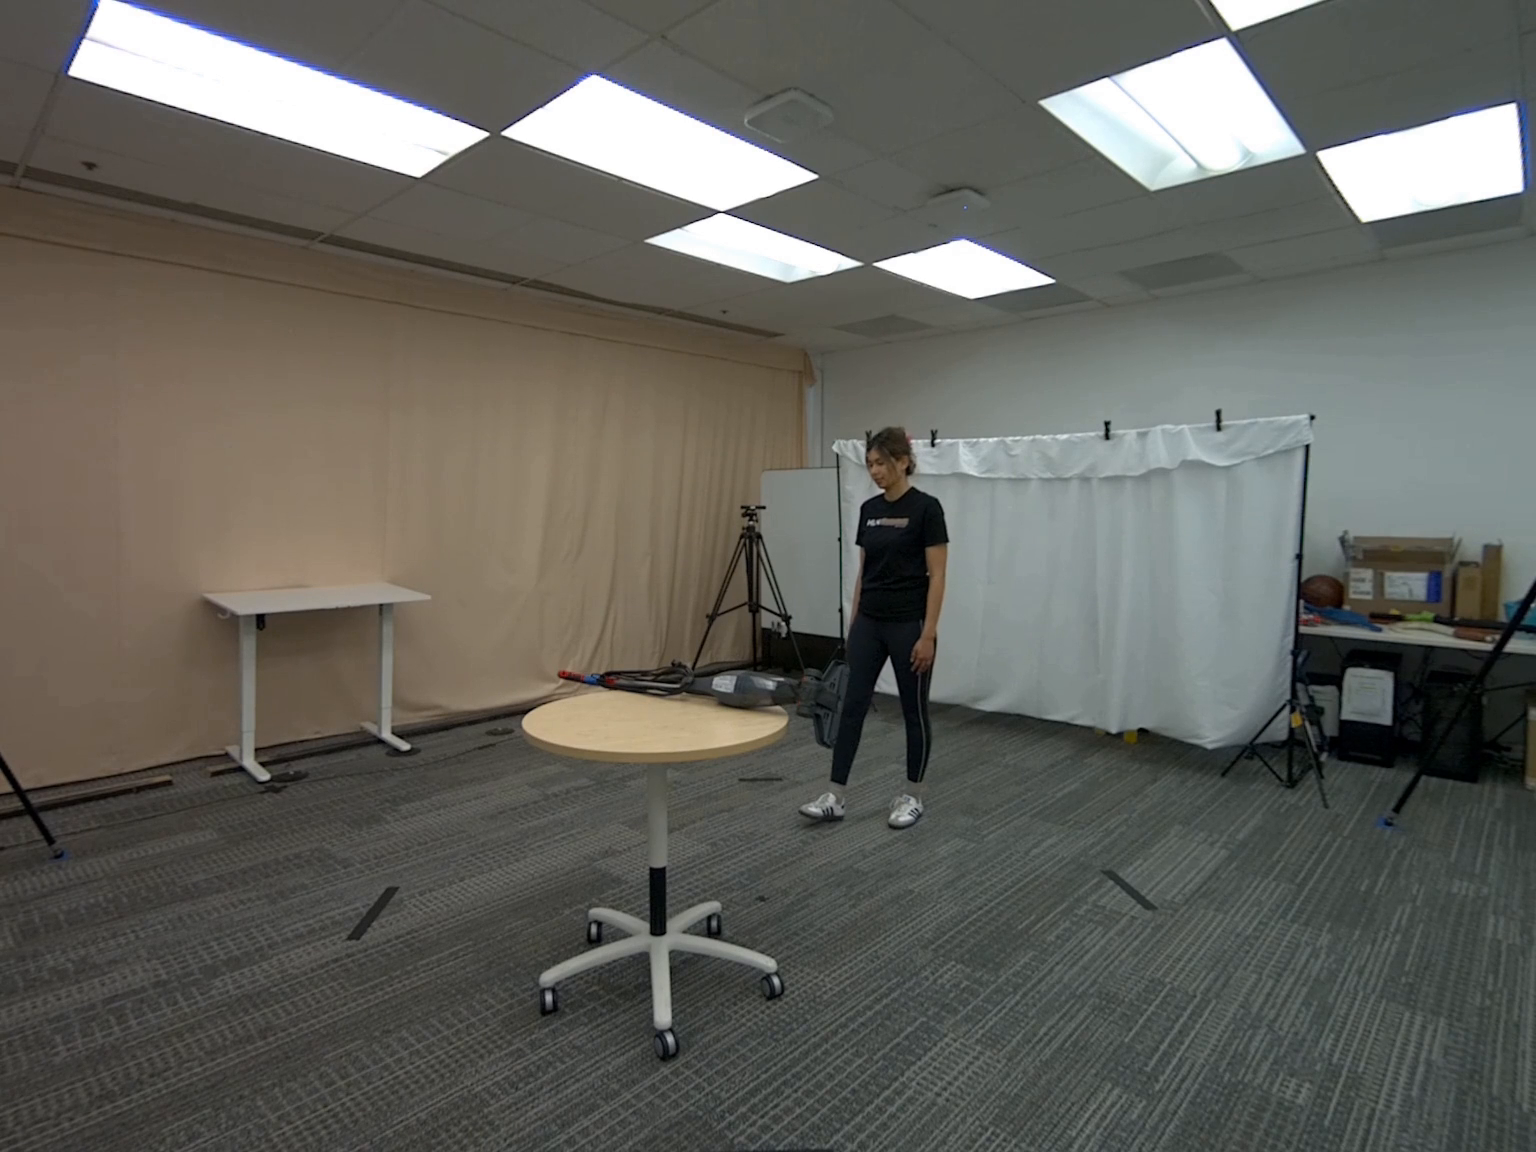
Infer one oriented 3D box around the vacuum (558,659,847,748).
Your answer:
[{"bbox_3d":[-0.278,0.356,2.695,1.081,0.254,0.139,1,-27,32],"label":"vacuum"}]
